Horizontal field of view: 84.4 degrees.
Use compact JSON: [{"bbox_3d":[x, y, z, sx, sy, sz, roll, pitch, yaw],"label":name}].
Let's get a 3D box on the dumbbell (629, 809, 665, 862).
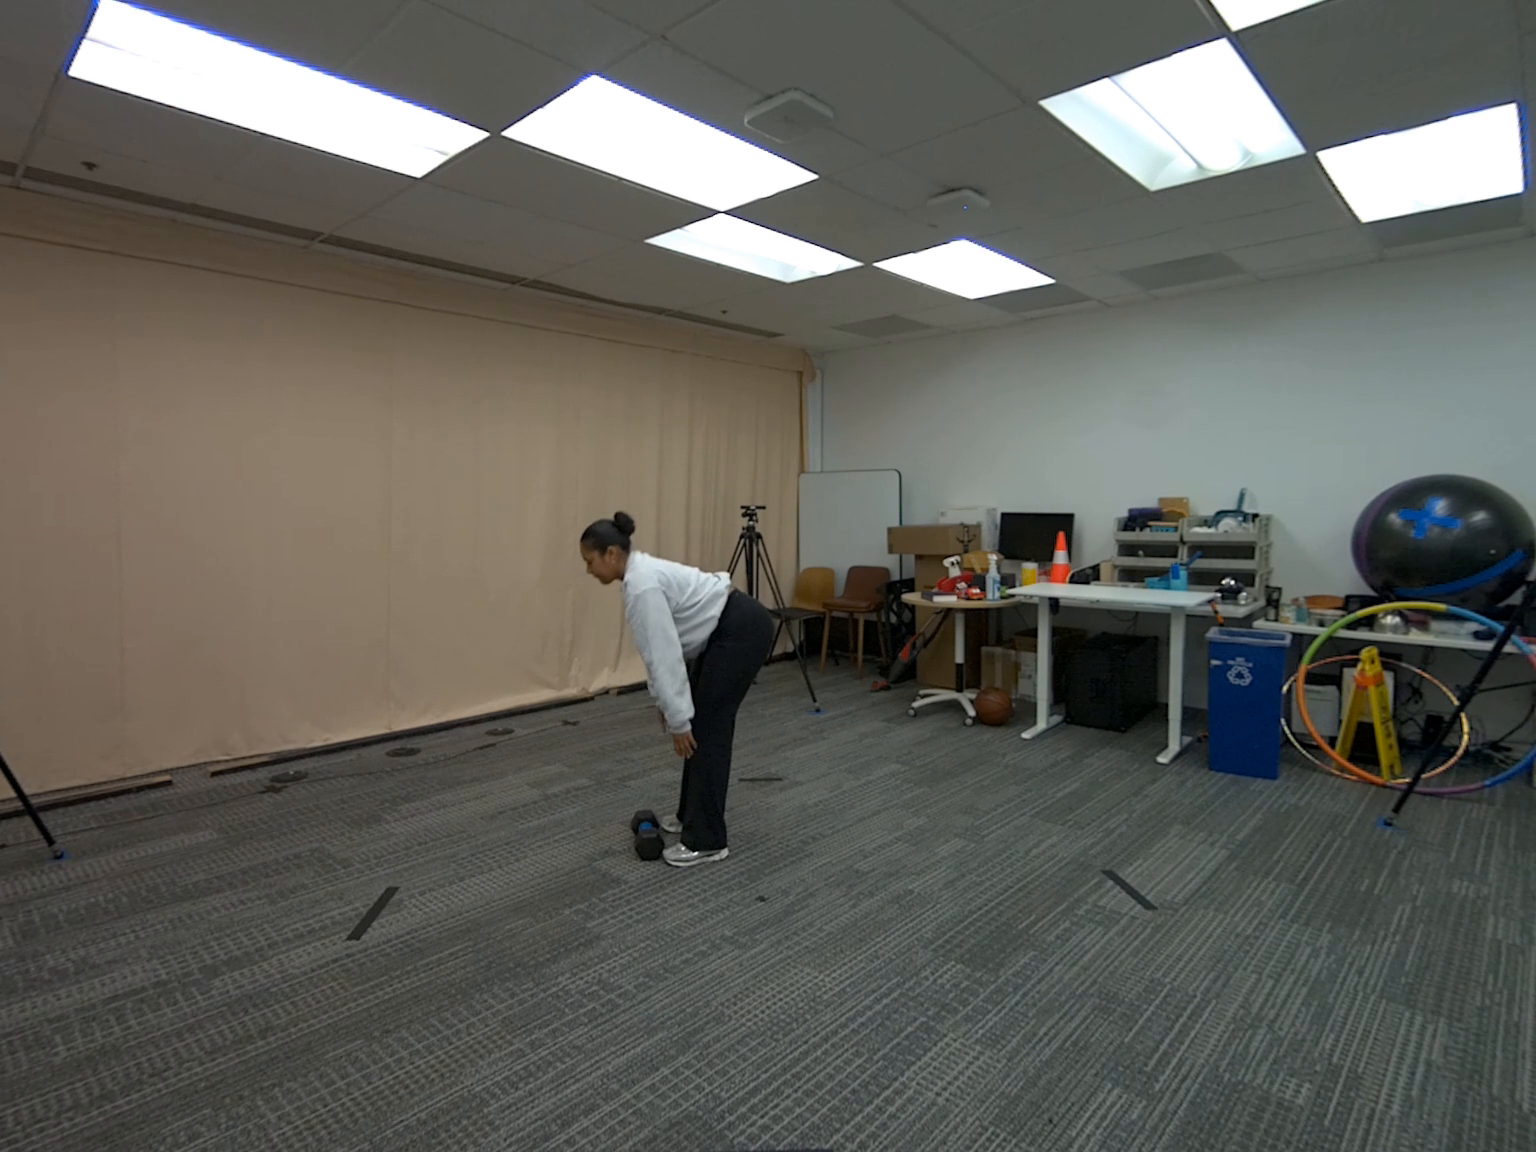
[{"bbox_3d":[-0.490,1.061,3.450,0.107,0.123,0.298,30,-3,-13],"label":"dumbbell"}]
